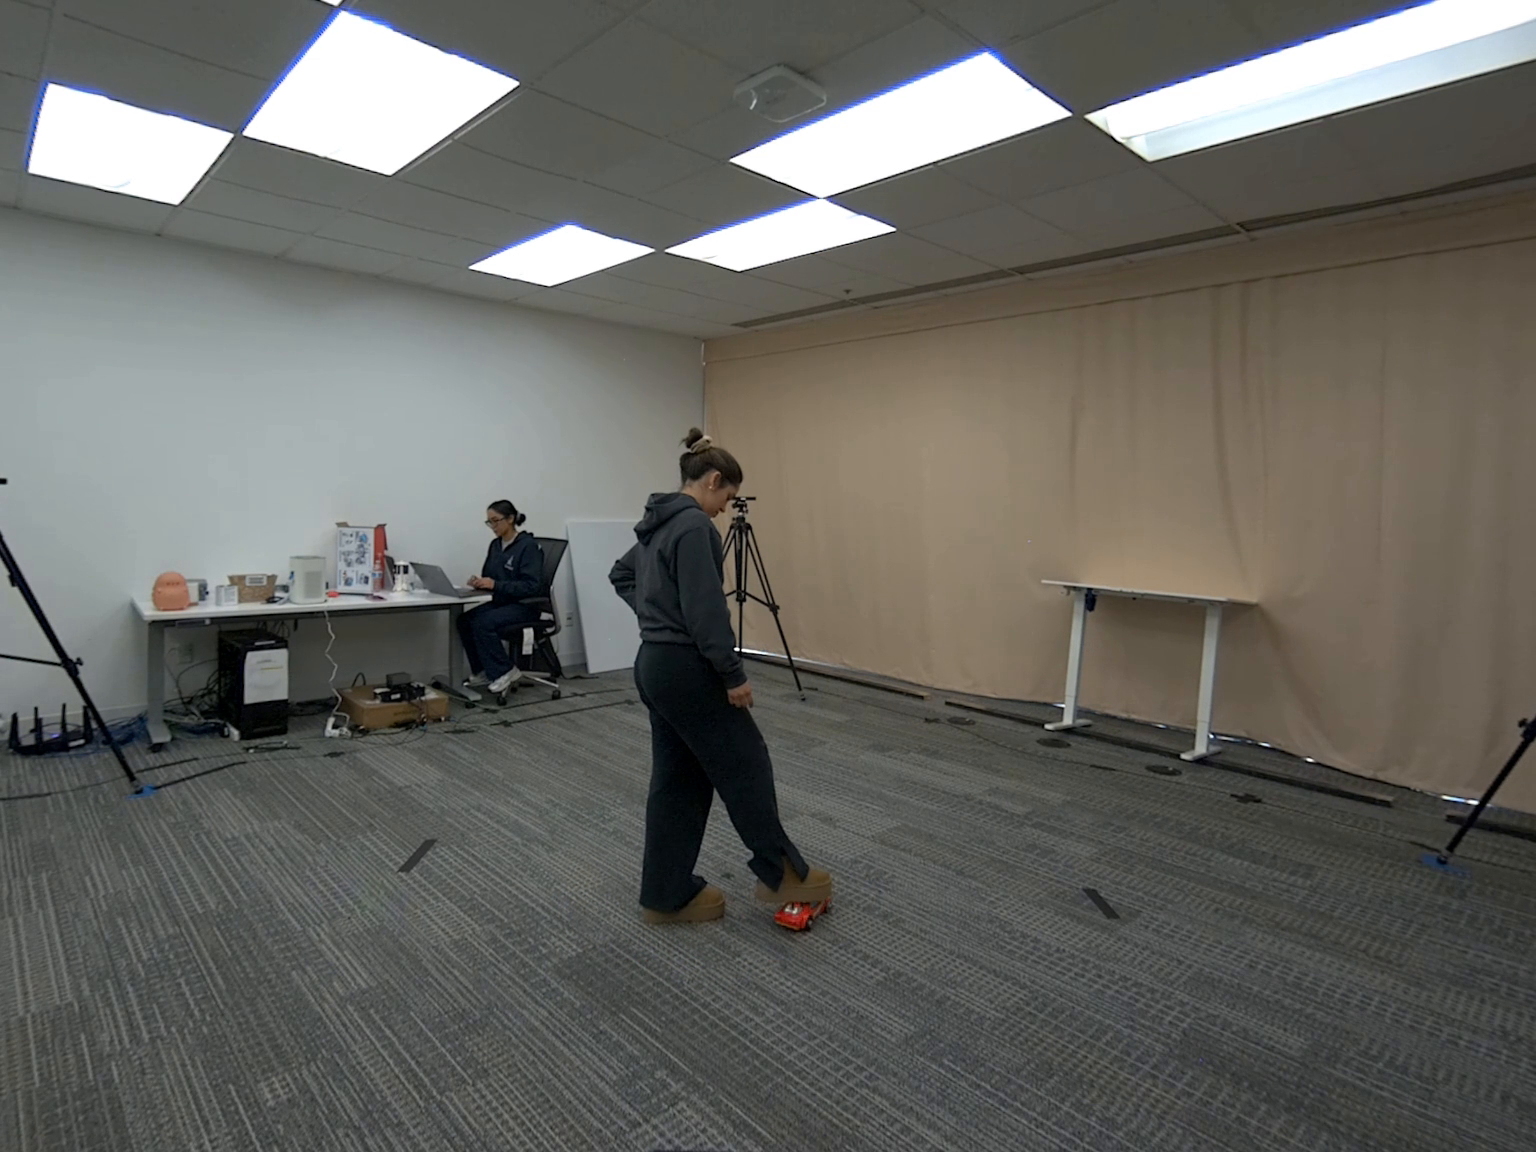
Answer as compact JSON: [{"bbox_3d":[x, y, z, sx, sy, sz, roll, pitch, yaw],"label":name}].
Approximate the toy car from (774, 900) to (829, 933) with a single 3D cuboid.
[{"bbox_3d":[0.104,1.114,2.786,0.133,0.083,0.248,4,-4,30],"label":"toy car"}]
